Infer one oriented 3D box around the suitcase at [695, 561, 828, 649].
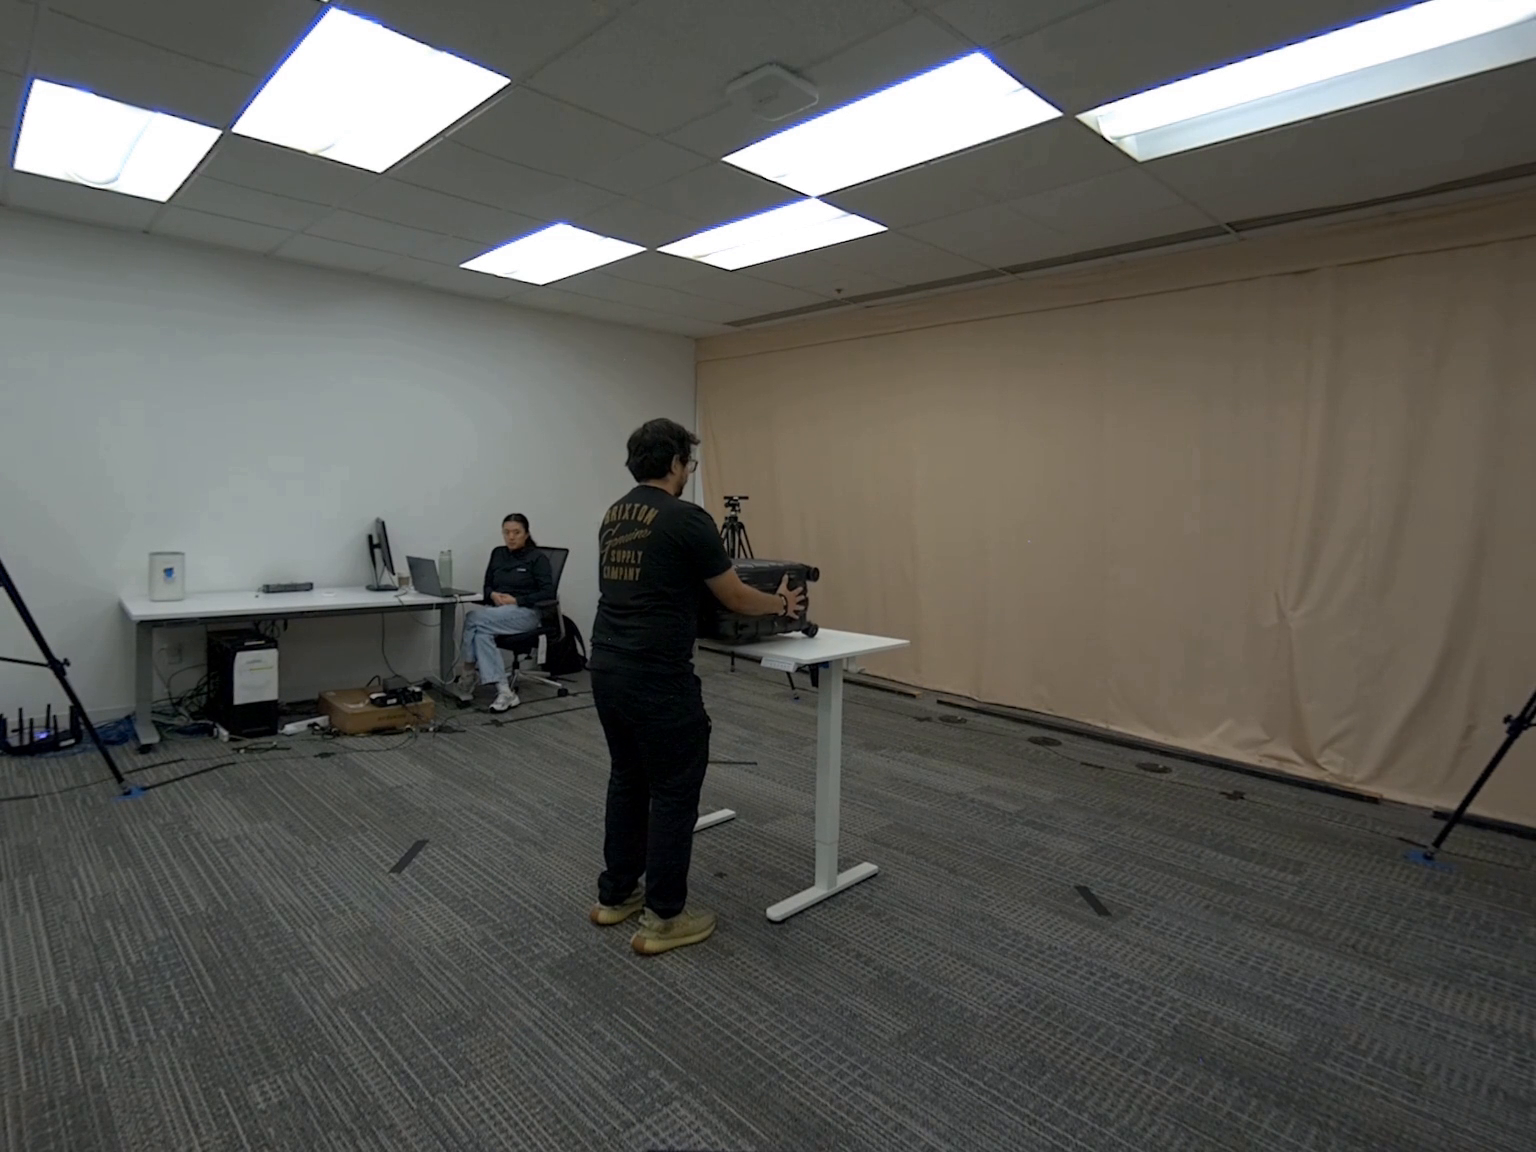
[{"bbox_3d":[-0.116,0.086,3.003,0.385,0.248,0.536,5,4,43],"label":"suitcase"}]
